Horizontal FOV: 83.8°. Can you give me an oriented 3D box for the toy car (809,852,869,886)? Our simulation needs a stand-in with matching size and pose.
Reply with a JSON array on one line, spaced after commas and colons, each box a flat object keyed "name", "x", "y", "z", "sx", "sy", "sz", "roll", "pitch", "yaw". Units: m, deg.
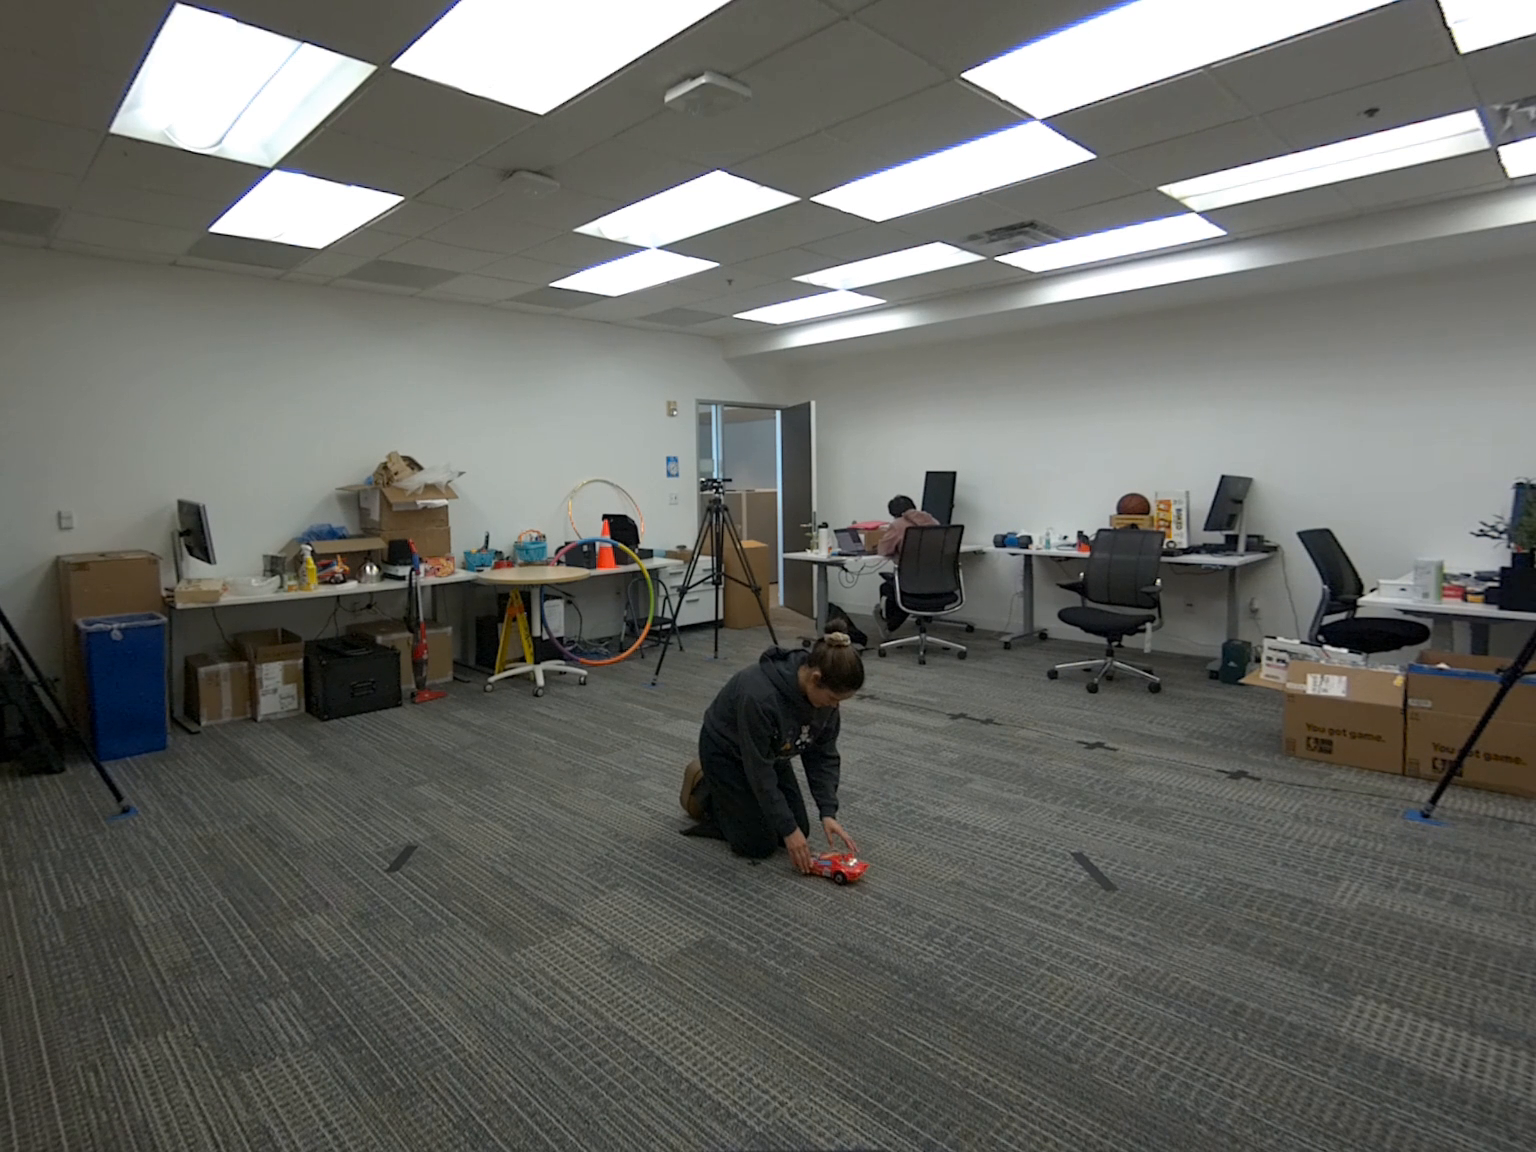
[{"name": "toy car", "x": 0.233, "y": 1.023, "z": 2.985, "sx": 0.260, "sy": 0.083, "sz": 0.127, "roll": -11, "pitch": 1, "yaw": 32}]
